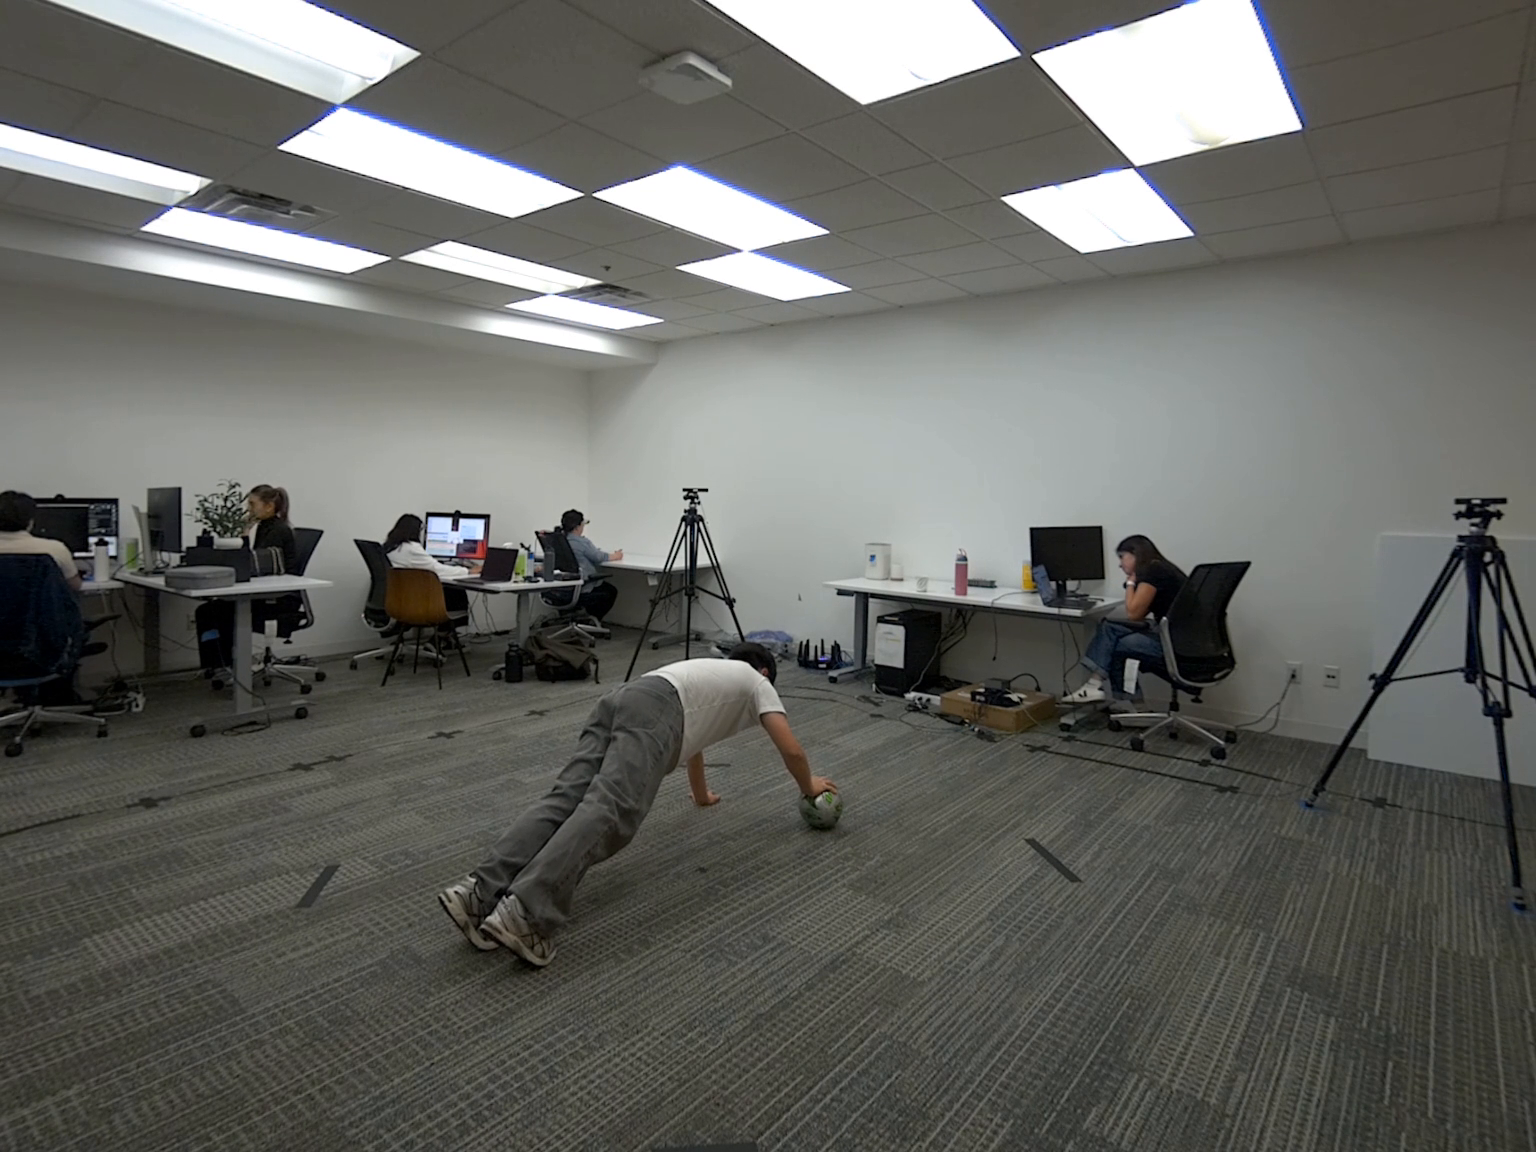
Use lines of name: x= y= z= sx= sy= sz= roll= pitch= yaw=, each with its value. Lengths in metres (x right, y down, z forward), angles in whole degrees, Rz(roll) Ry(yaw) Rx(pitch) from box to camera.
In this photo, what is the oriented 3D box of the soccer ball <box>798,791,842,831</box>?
soccer ball: x=0.217 y=0.937 z=3.542 sx=0.187 sy=0.187 sz=0.188 roll=1 pitch=4 yaw=-2
